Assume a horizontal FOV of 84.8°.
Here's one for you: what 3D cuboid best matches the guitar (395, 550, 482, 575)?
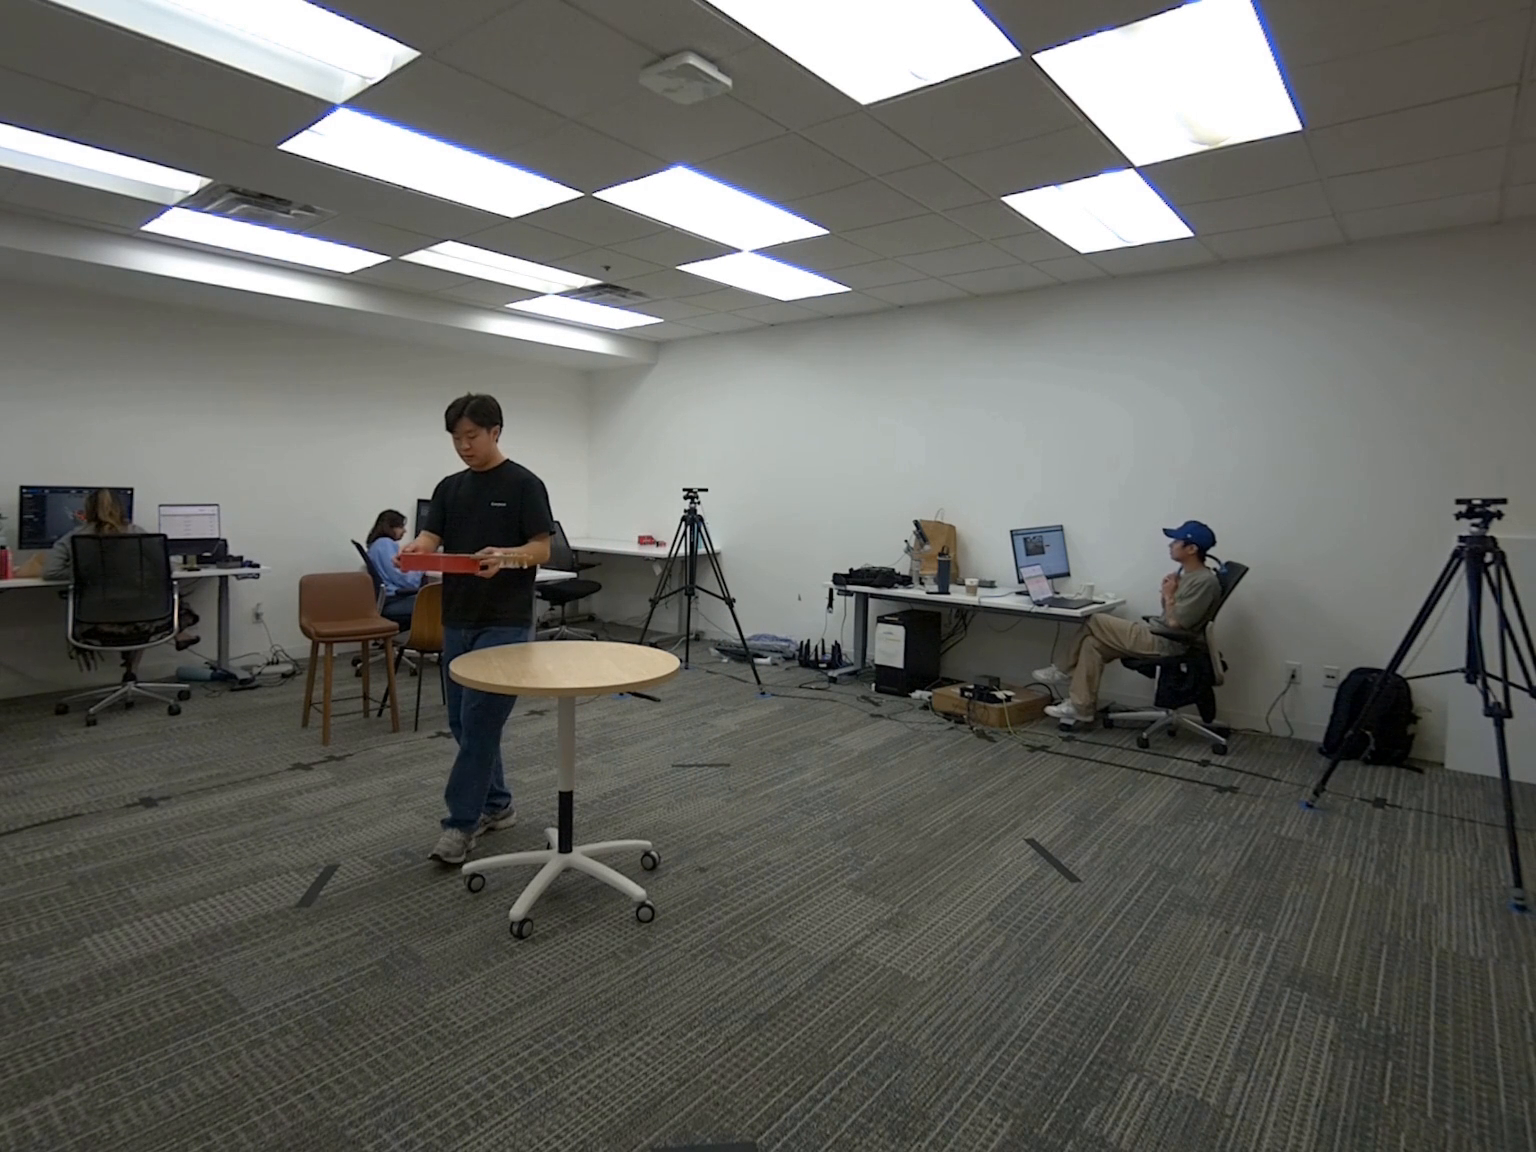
[{"bbox_3d":[-1.079,-0.047,2.922,0.512,0.070,0.188,2,3,32],"label":"guitar"}]
